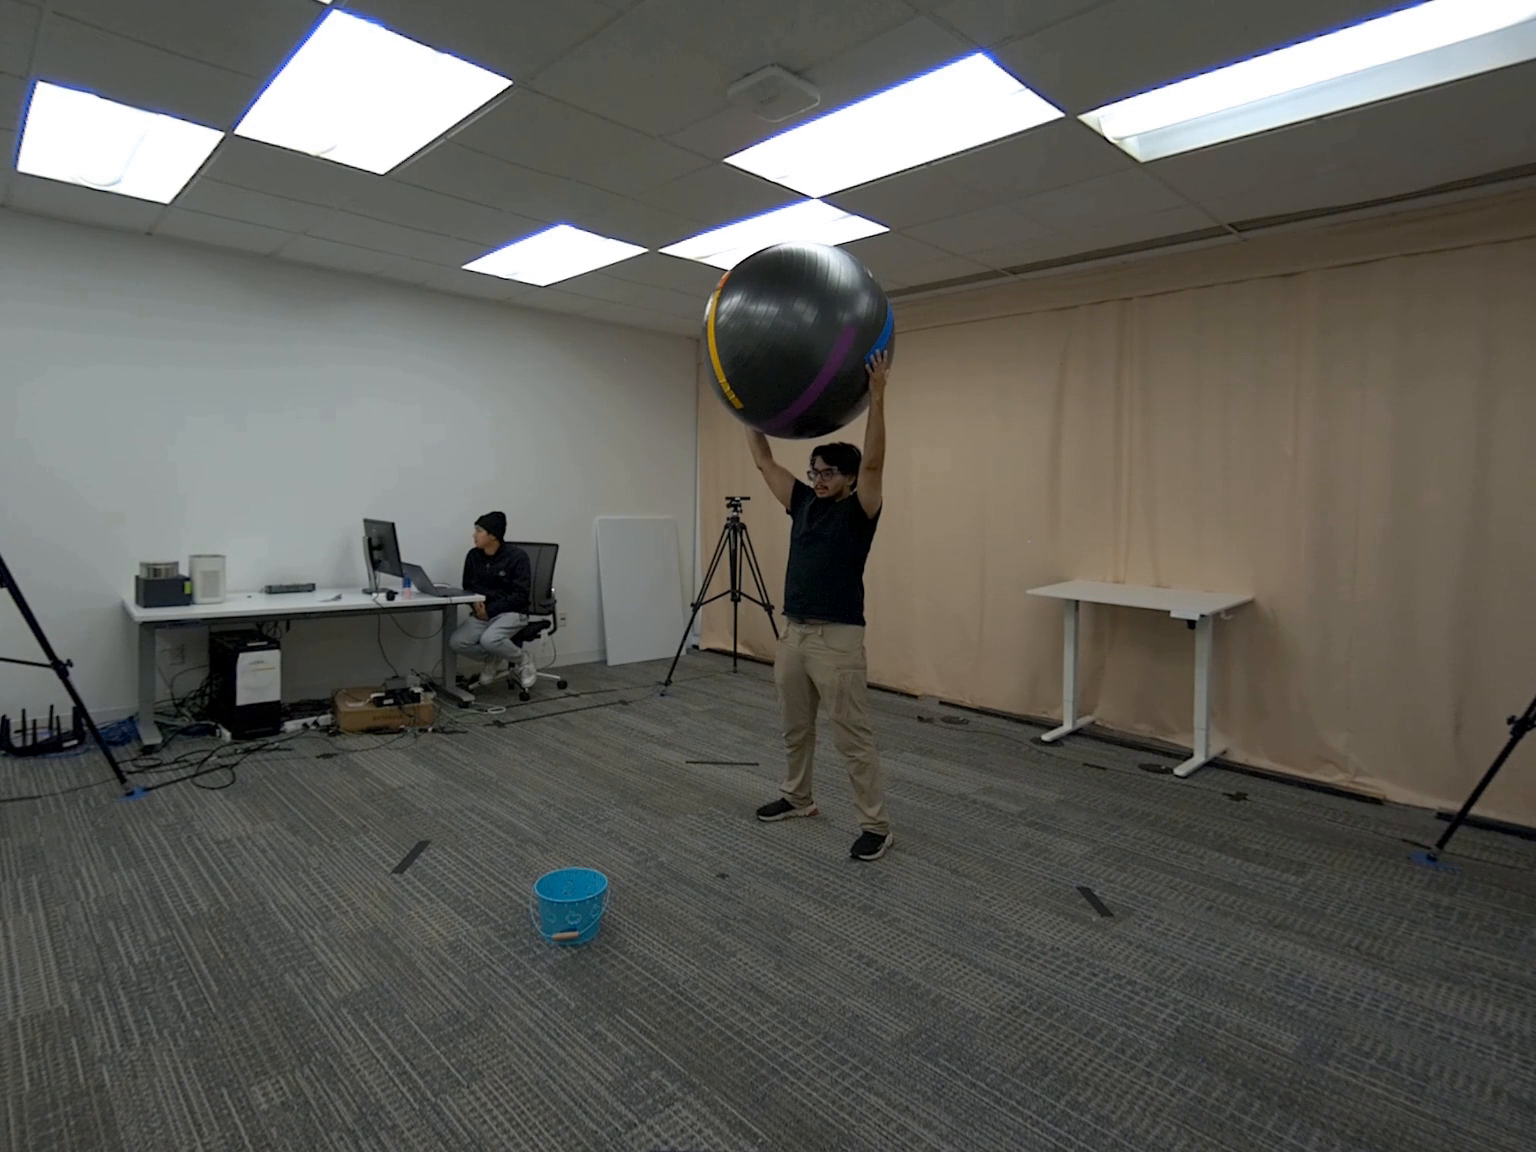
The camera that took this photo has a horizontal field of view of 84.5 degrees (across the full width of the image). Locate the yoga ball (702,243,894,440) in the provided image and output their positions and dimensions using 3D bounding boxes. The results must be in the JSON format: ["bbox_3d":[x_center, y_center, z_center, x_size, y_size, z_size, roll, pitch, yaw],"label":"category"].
[{"bbox_3d":[0.108,-0.912,3.309,0.757,0.756,0.760,1,4,-1],"label":"yoga ball"}]
